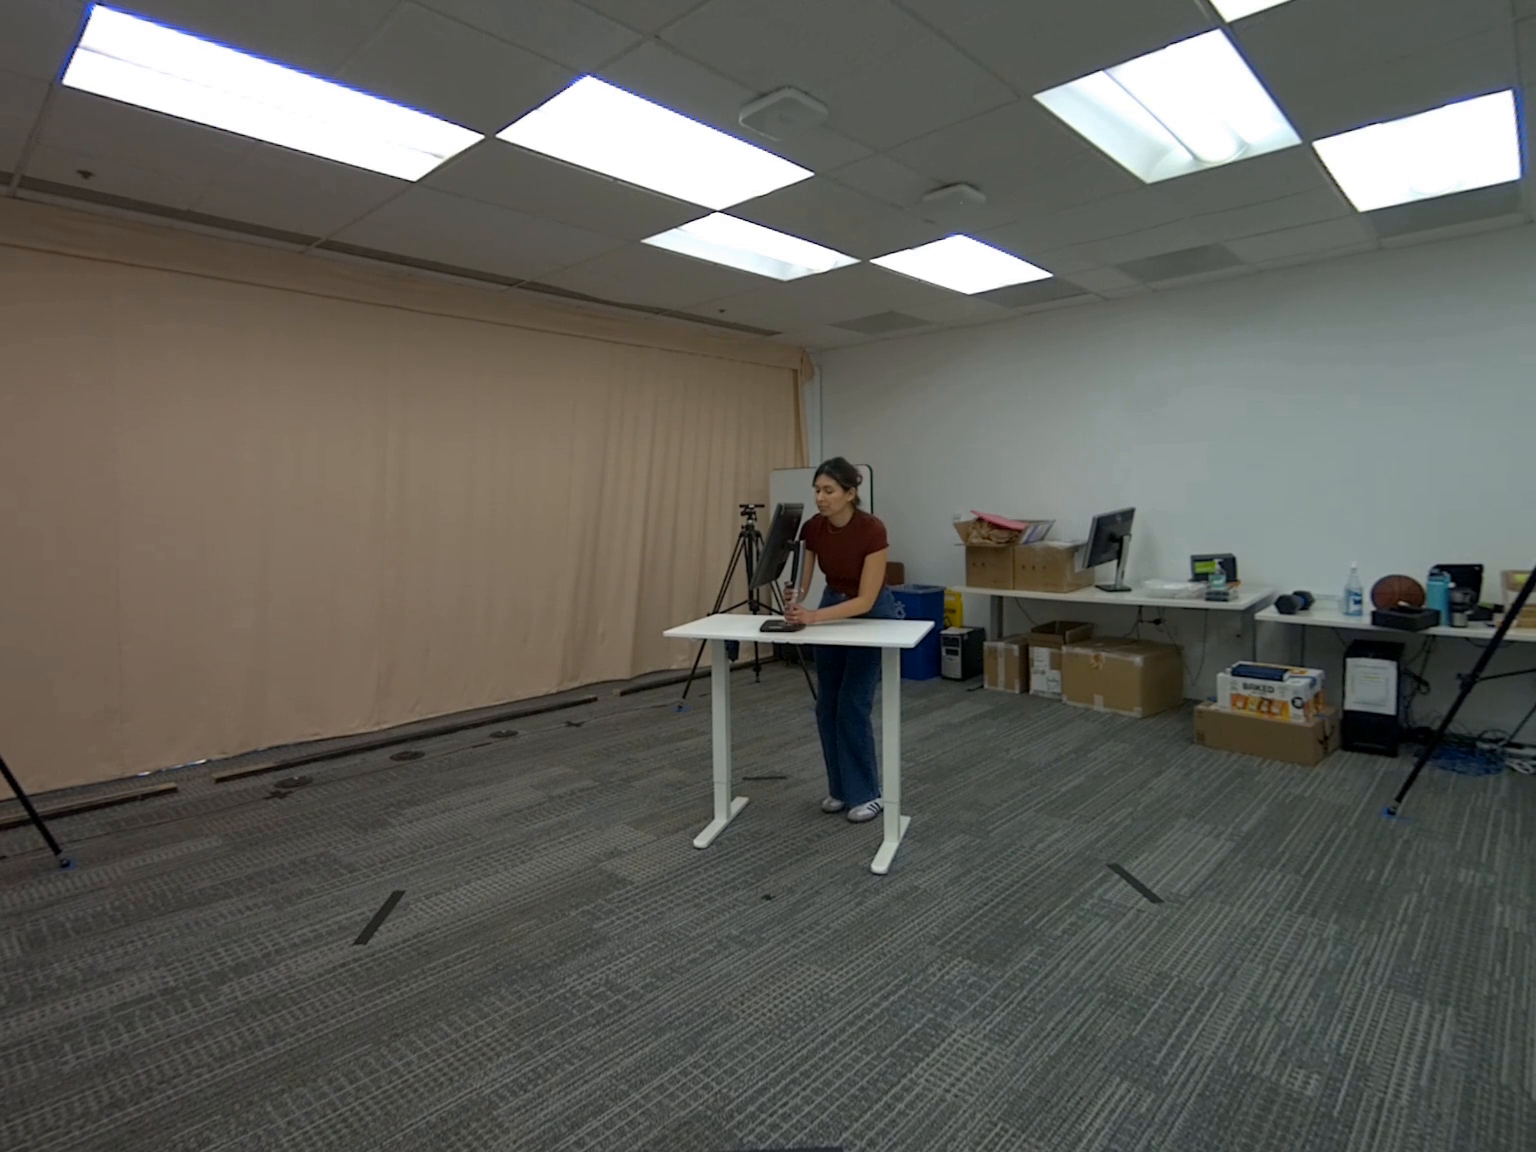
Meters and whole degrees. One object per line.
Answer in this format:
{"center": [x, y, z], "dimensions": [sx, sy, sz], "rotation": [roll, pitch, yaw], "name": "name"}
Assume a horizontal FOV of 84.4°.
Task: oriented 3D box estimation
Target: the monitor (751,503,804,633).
{"center": [0.072, -0.039, 3.477], "dimensions": [0.189, 0.521, 0.533], "rotation": [4, 5, 10], "name": "monitor"}
